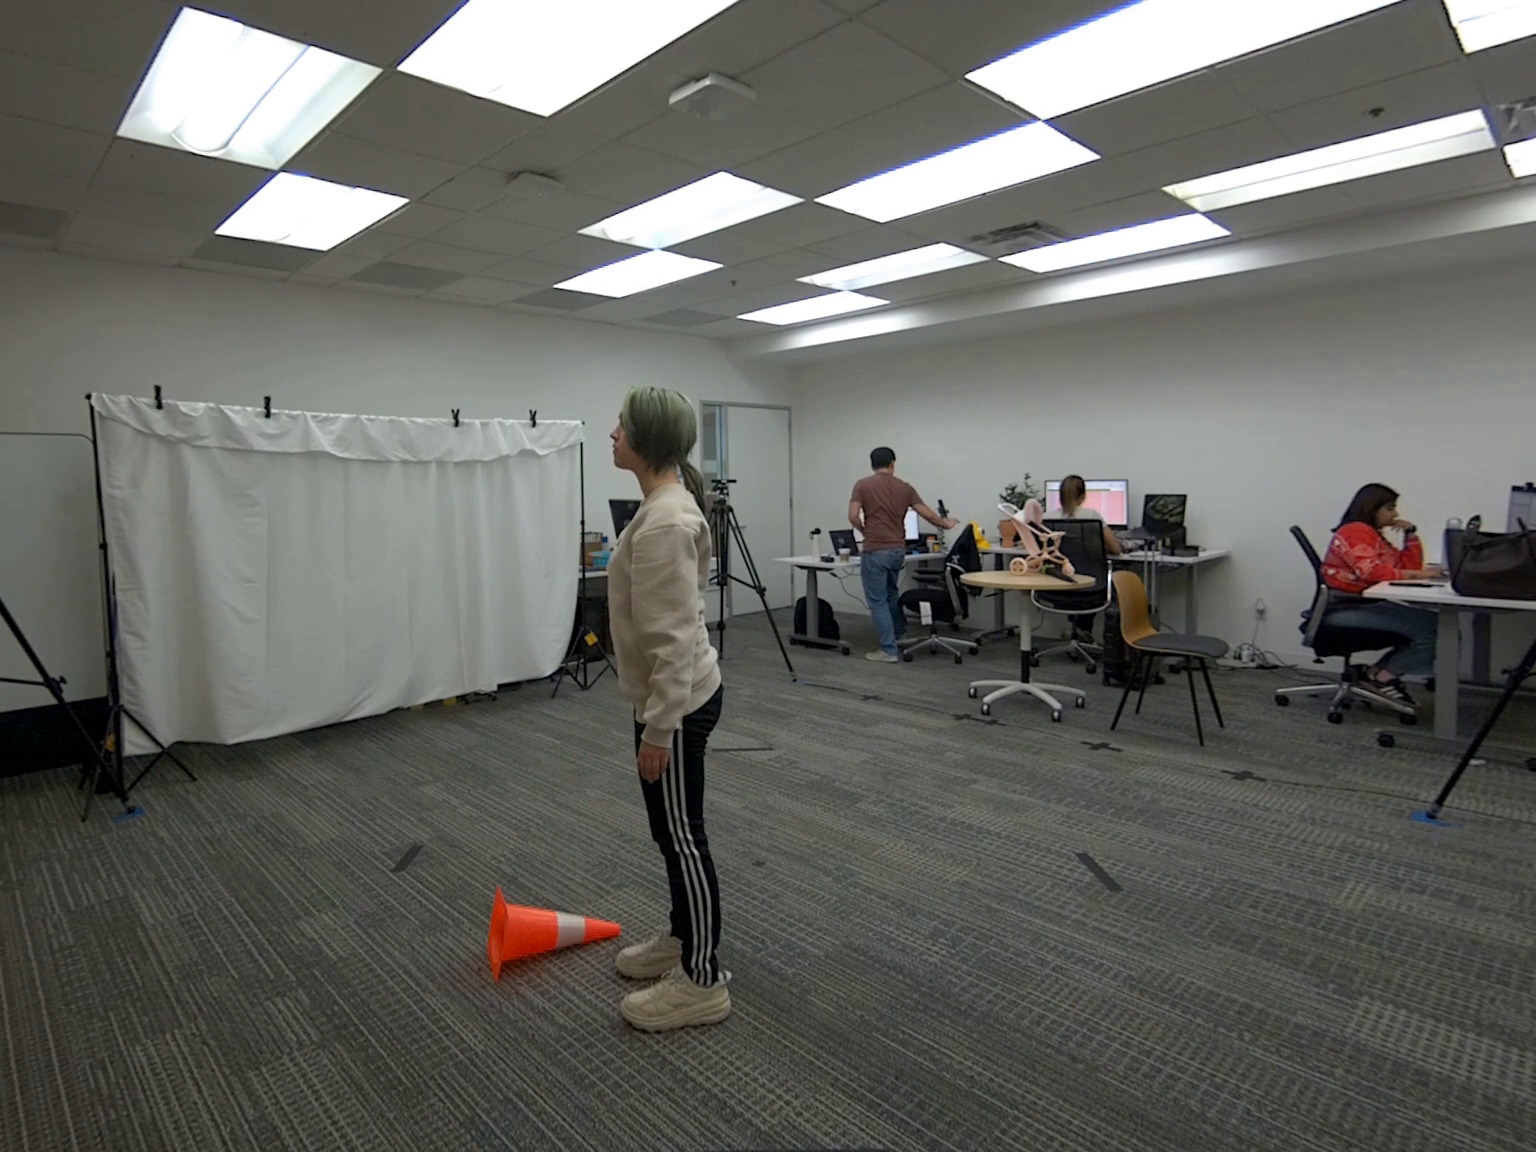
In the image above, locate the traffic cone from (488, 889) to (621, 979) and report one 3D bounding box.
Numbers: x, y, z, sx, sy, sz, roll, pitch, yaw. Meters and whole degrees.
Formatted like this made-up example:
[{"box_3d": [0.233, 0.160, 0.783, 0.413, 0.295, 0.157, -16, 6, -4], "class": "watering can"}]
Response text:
[{"box_3d": [-0.625, 1.068, 2.565, 0.373, 0.205, 0.209, 10, 0, -28], "class": "traffic cone"}]
